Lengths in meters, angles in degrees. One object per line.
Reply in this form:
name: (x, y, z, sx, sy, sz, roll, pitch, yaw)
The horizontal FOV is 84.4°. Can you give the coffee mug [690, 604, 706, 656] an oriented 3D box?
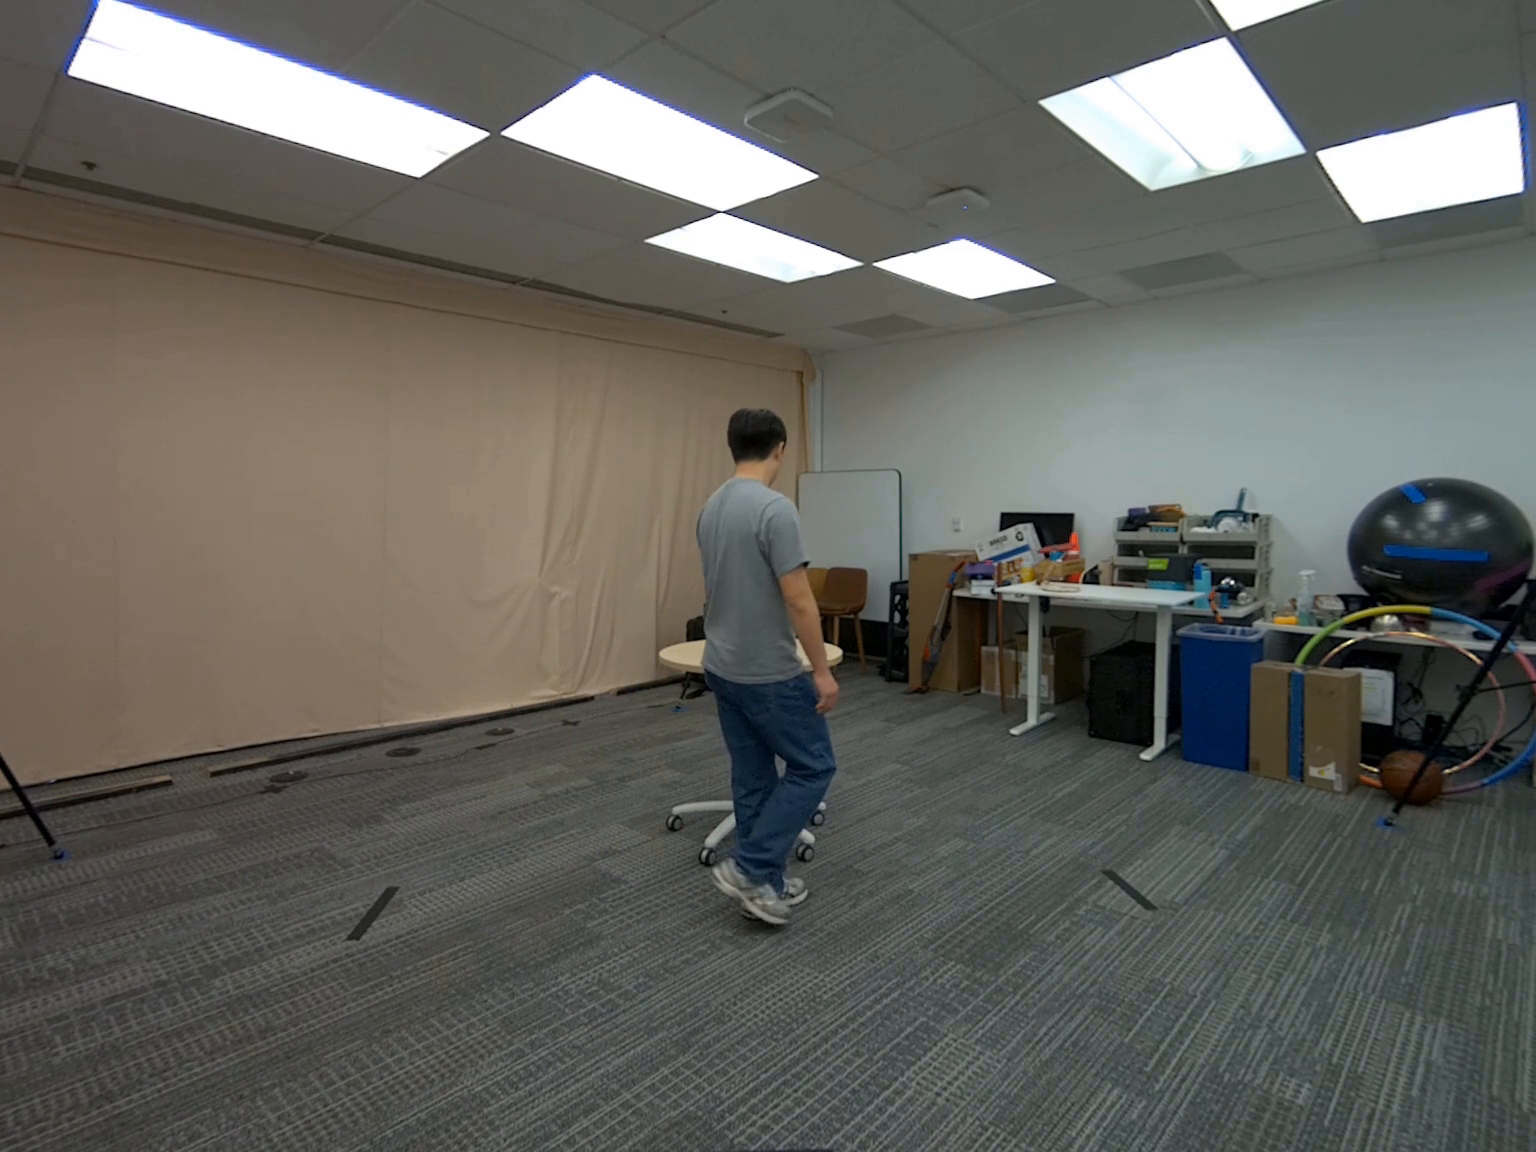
coffee mug: (-0.241, 0.220, 3.526, 0.091, 0.202, 0.118, 8, 5, 41)
